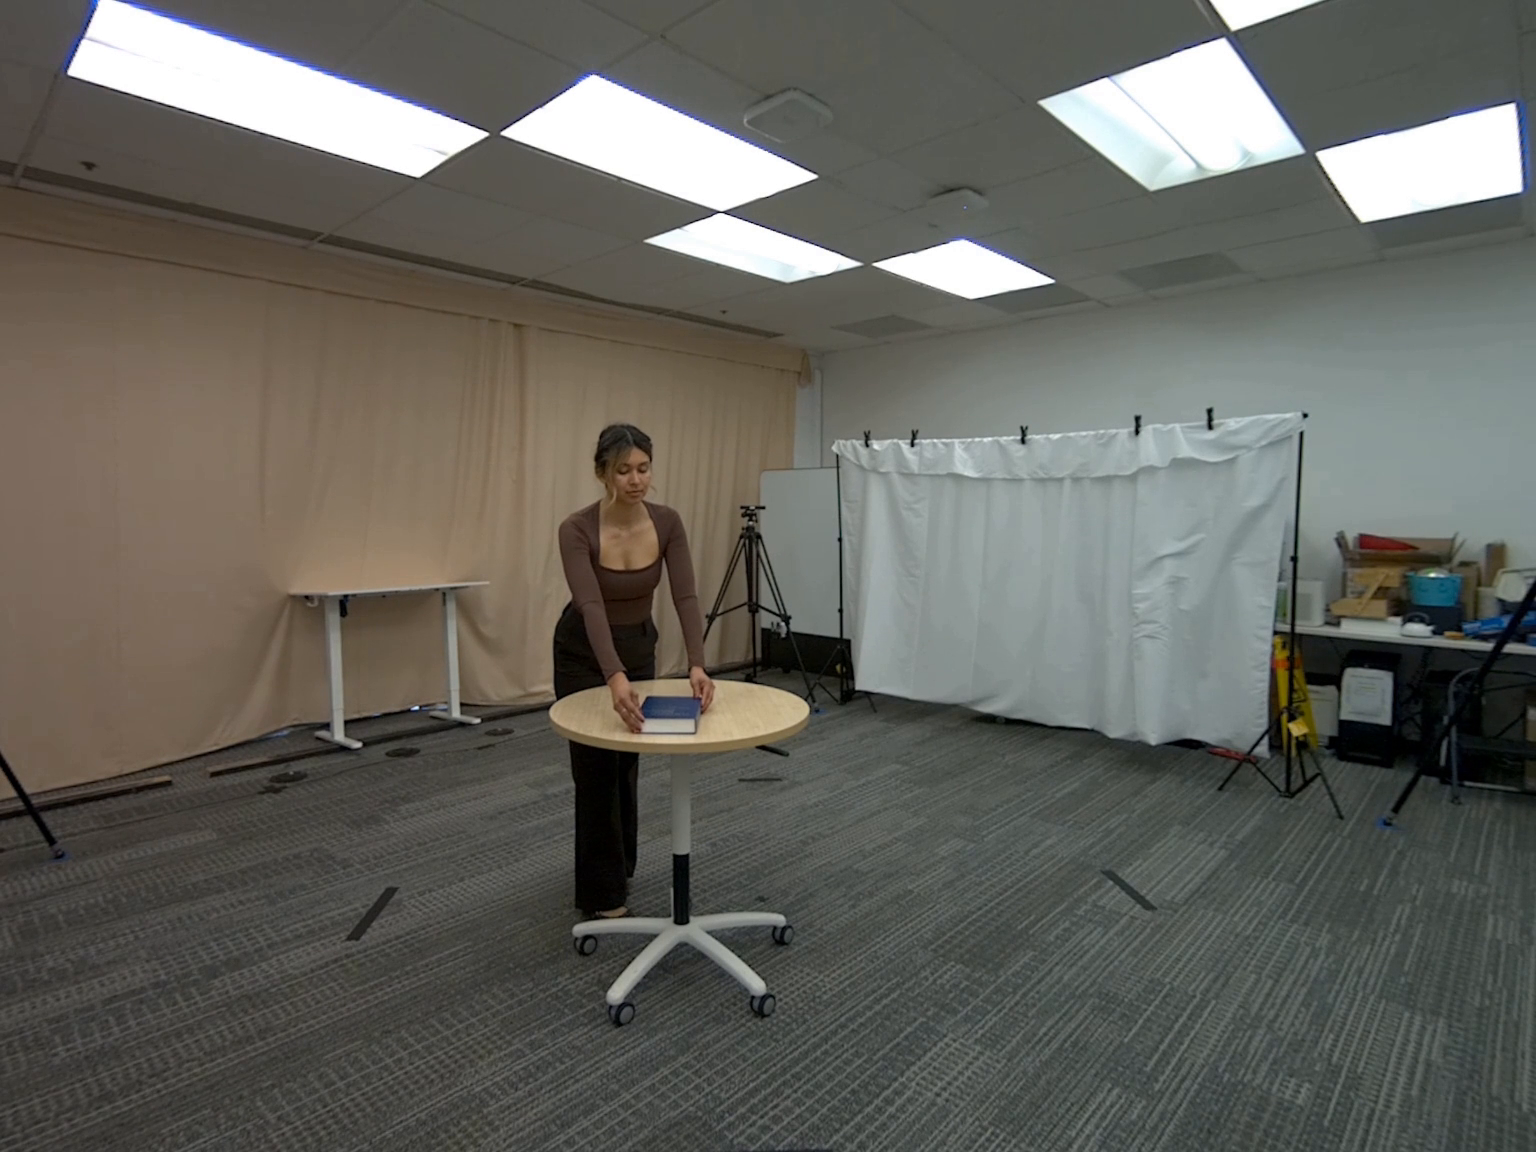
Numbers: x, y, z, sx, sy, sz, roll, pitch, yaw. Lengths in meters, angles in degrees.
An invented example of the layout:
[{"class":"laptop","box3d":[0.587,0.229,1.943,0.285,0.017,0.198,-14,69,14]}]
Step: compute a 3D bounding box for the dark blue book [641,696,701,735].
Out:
[{"class":"dark blue book","box3d":[-0.261,0.390,2.310,0.164,0.045,0.245,0,5,1]}]
